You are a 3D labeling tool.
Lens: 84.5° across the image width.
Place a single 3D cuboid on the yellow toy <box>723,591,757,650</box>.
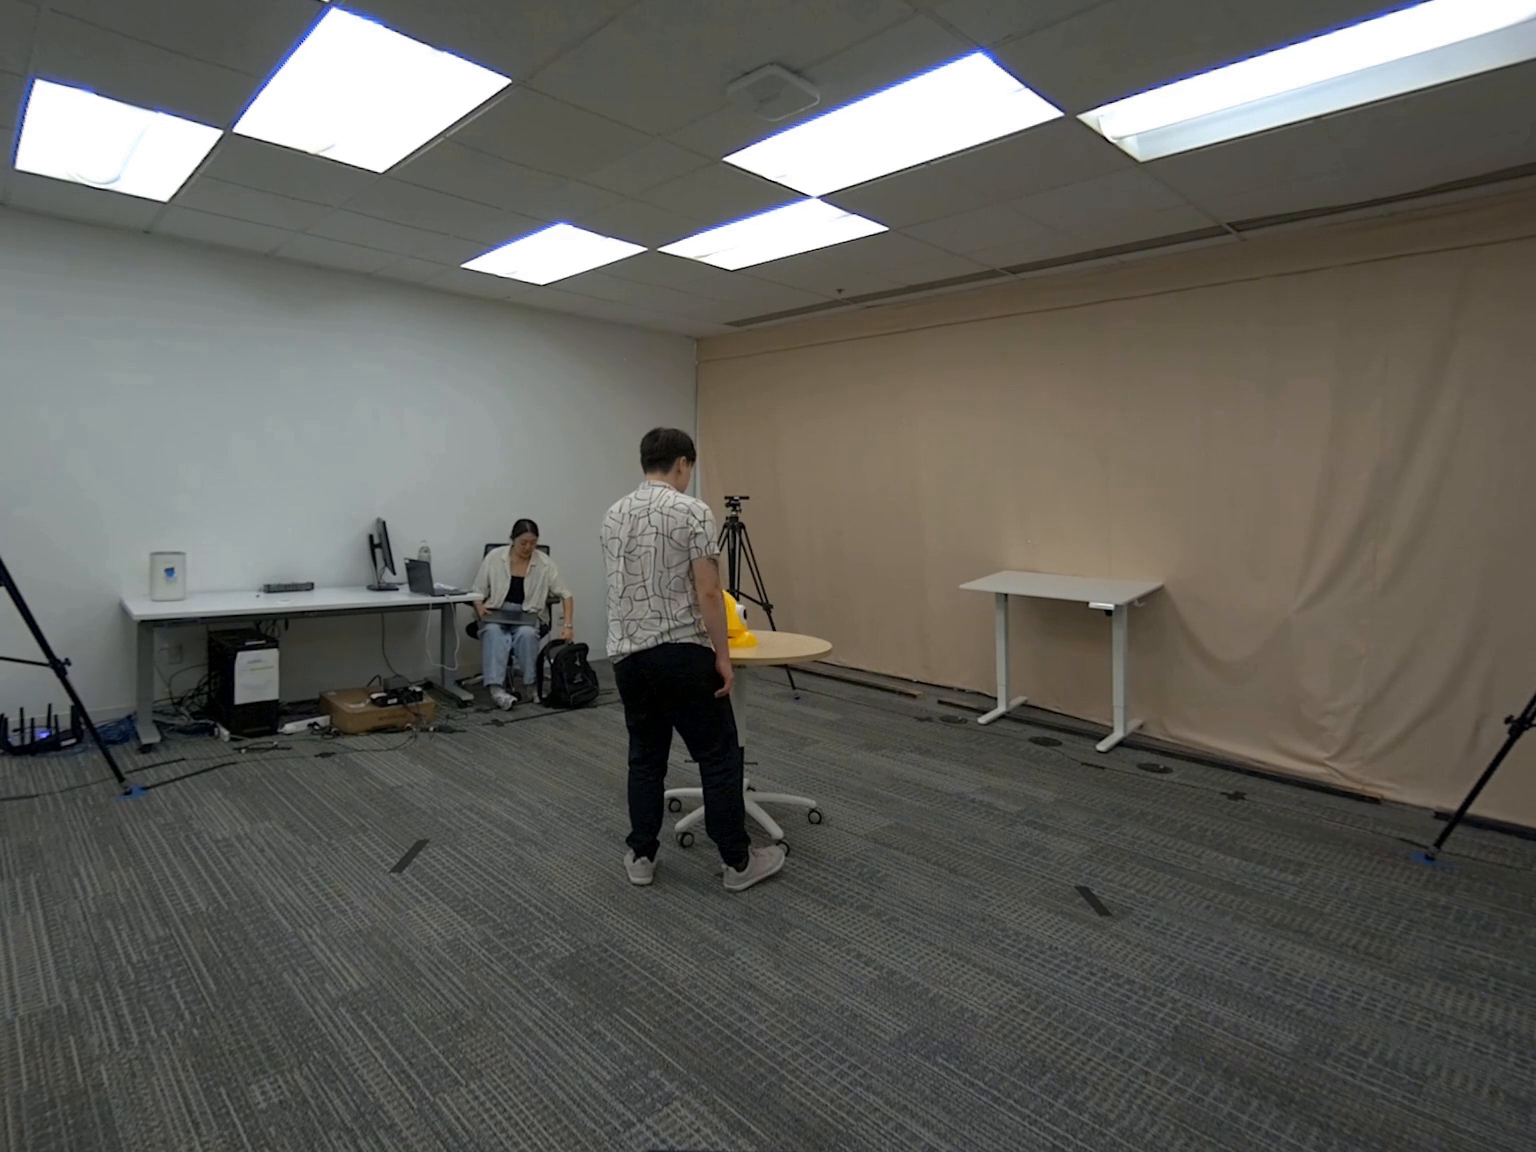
[{"bbox_3d":[-0.158,0.170,3.516,0.188,0.230,0.210,-1,3,-43],"label":"yellow toy"}]
